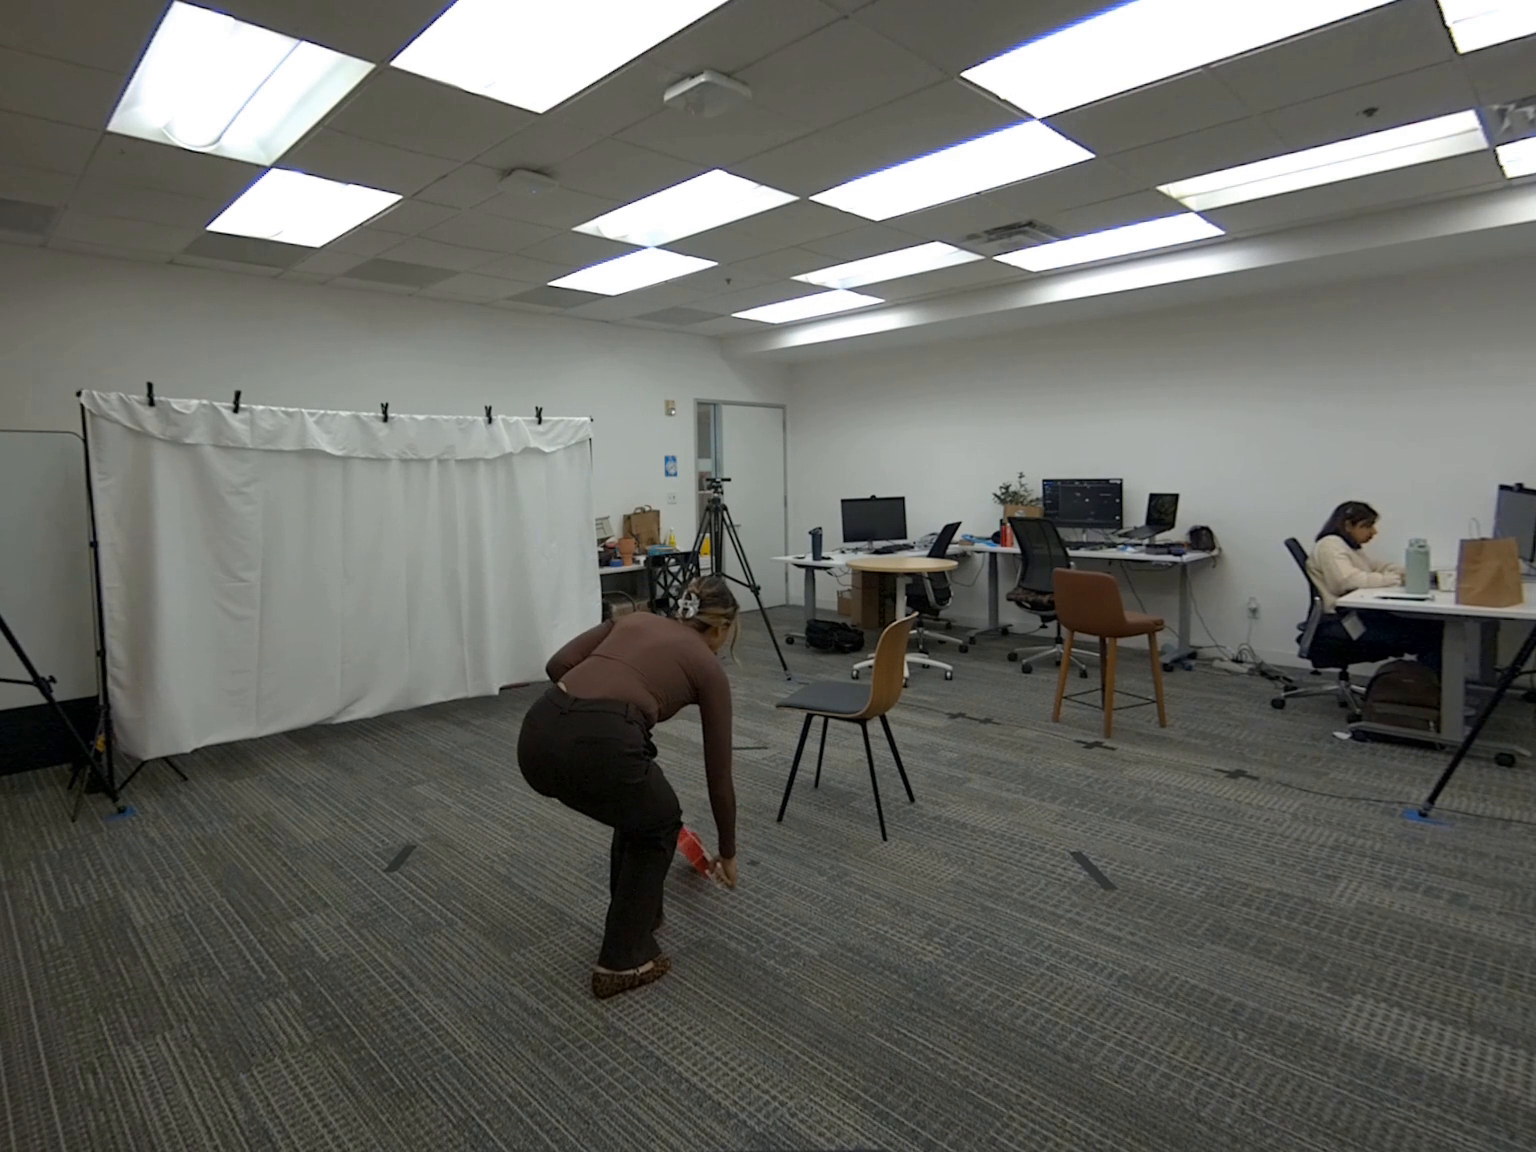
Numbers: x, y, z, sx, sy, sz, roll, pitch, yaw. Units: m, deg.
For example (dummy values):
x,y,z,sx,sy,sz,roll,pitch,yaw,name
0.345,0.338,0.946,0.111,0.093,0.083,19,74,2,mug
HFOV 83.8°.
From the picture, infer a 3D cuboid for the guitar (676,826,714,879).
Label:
x,y,z,sx,sy,sz,roll,pitch,yaw,name
-0.235,0.928,2.880,0.070,0.193,0.499,-39,2,-14,guitar
